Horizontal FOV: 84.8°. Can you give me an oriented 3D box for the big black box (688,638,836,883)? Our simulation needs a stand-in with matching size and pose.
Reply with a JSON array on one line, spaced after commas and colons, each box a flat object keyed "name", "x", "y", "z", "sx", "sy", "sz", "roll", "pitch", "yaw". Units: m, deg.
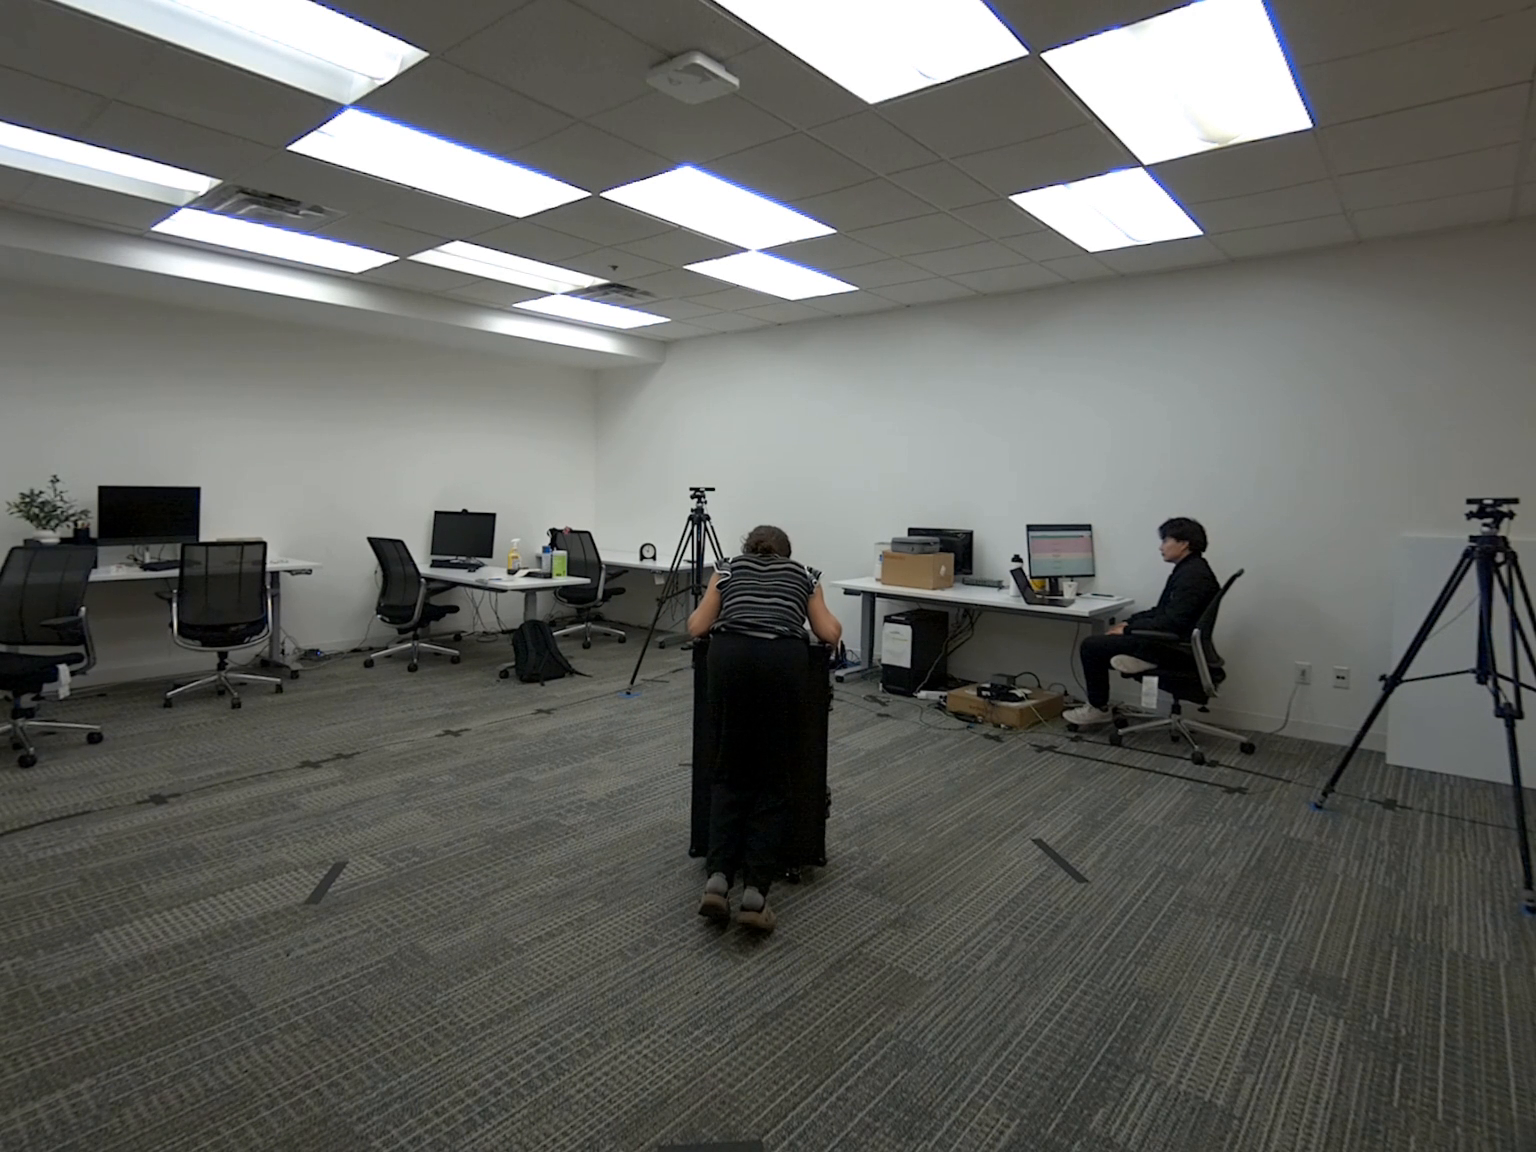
[{"name": "big black box", "x": -0.044, "y": 0.649, "z": 3.190, "sx": 0.524, "sy": 0.860, "sz": 0.394, "roll": 2, "pitch": 1, "yaw": 4}]
